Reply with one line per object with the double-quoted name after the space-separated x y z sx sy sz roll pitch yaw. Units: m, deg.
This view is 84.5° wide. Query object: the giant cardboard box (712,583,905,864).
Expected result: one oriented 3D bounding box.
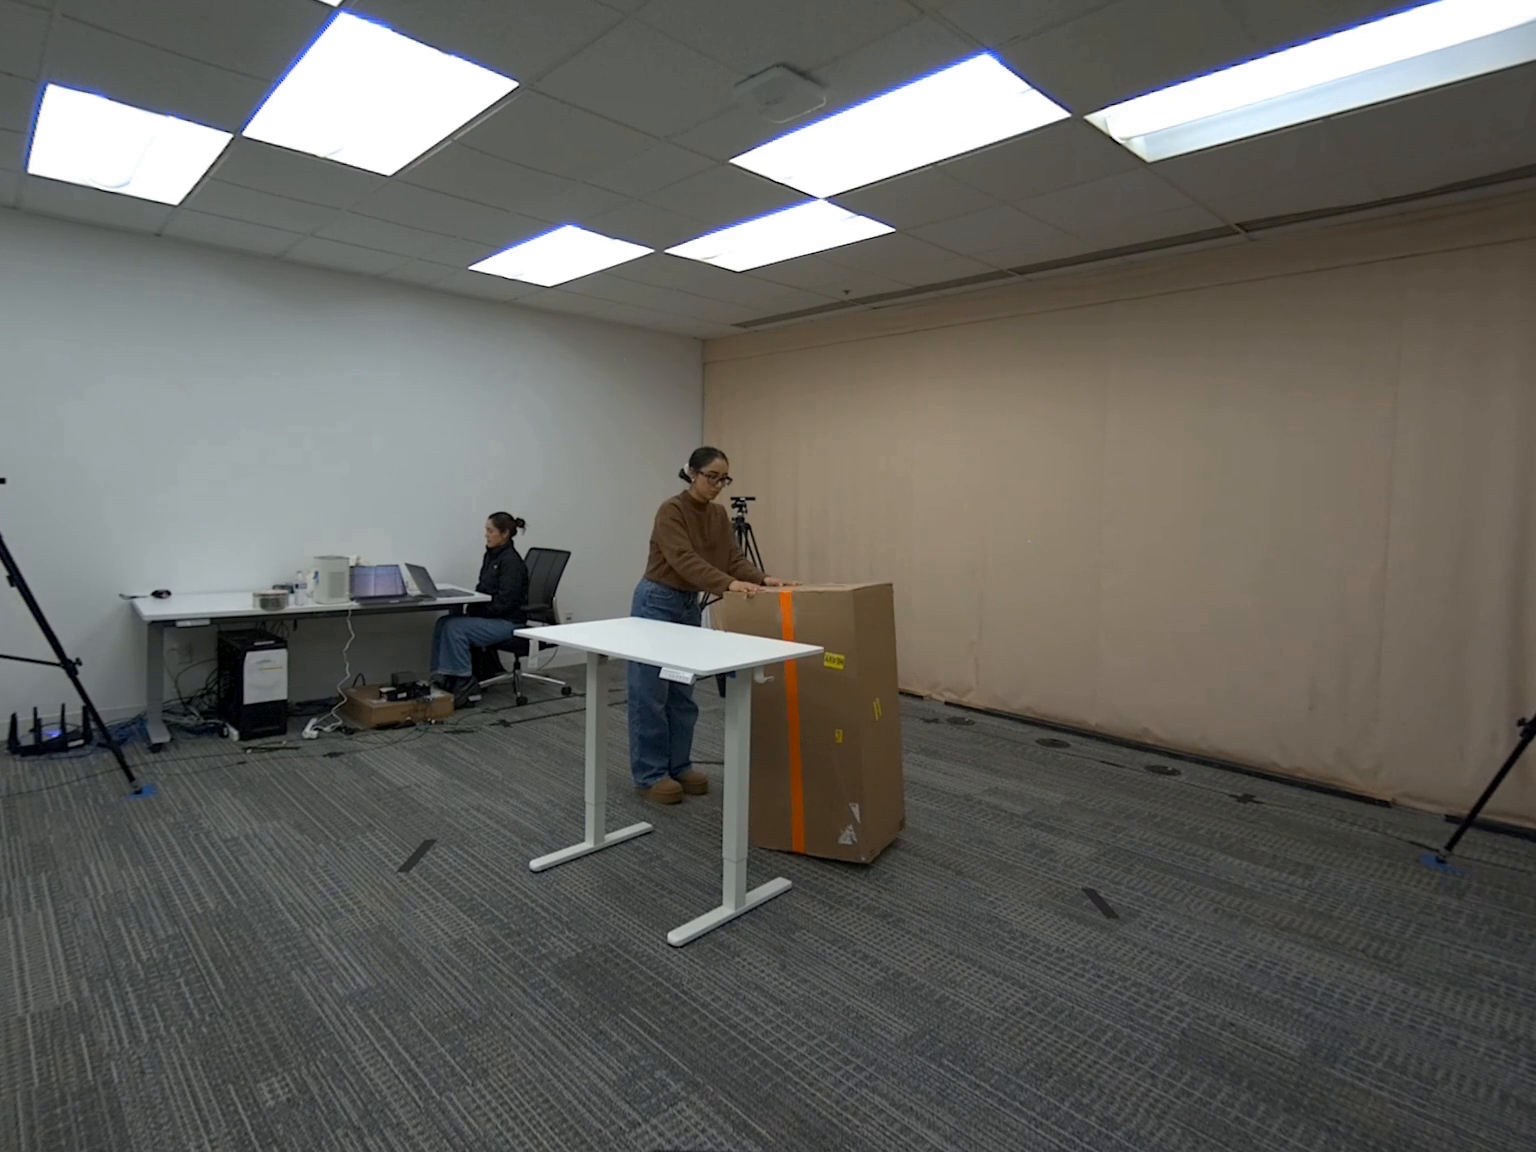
0.188 0.556 3.450 0.589 1.026 0.418 -3 0 31 "giant cardboard box"
